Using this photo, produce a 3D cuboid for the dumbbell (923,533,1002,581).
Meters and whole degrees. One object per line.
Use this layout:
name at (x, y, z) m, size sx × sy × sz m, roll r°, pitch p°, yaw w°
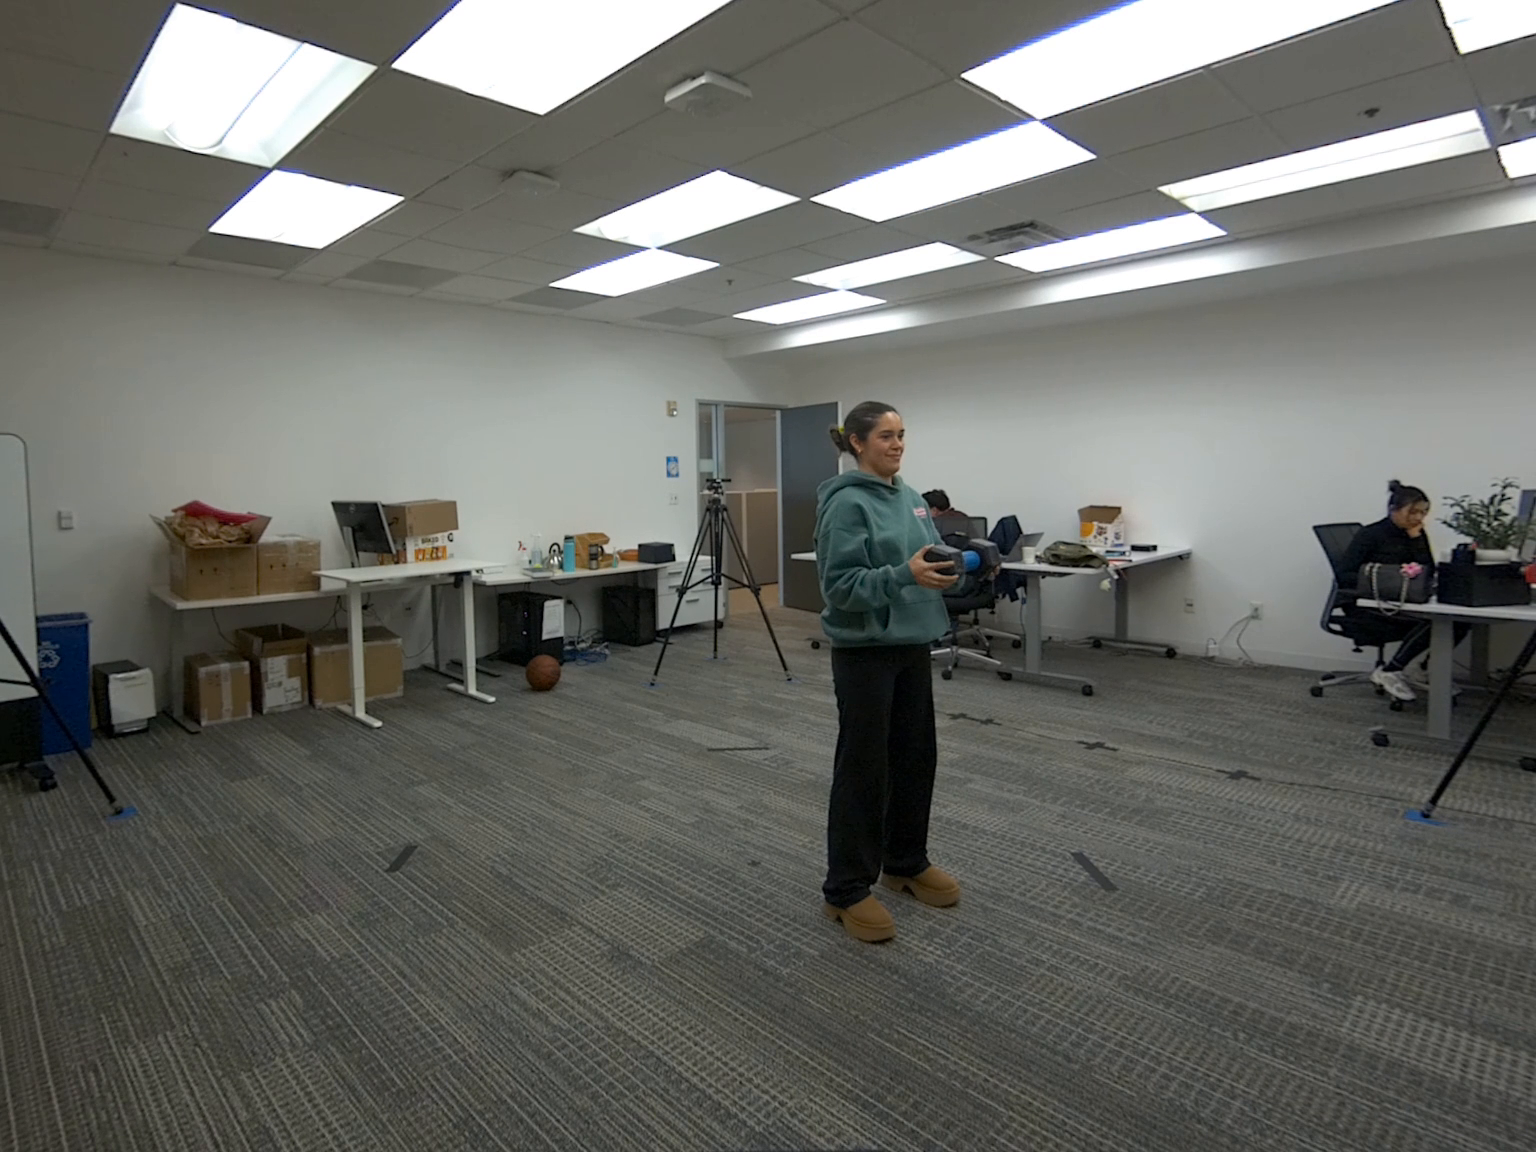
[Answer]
dumbbell at (0.567, -0.040, 2.543) m, size 0.127 × 0.107 × 0.286 m, roll 24°, pitch 22°, yaw 40°
